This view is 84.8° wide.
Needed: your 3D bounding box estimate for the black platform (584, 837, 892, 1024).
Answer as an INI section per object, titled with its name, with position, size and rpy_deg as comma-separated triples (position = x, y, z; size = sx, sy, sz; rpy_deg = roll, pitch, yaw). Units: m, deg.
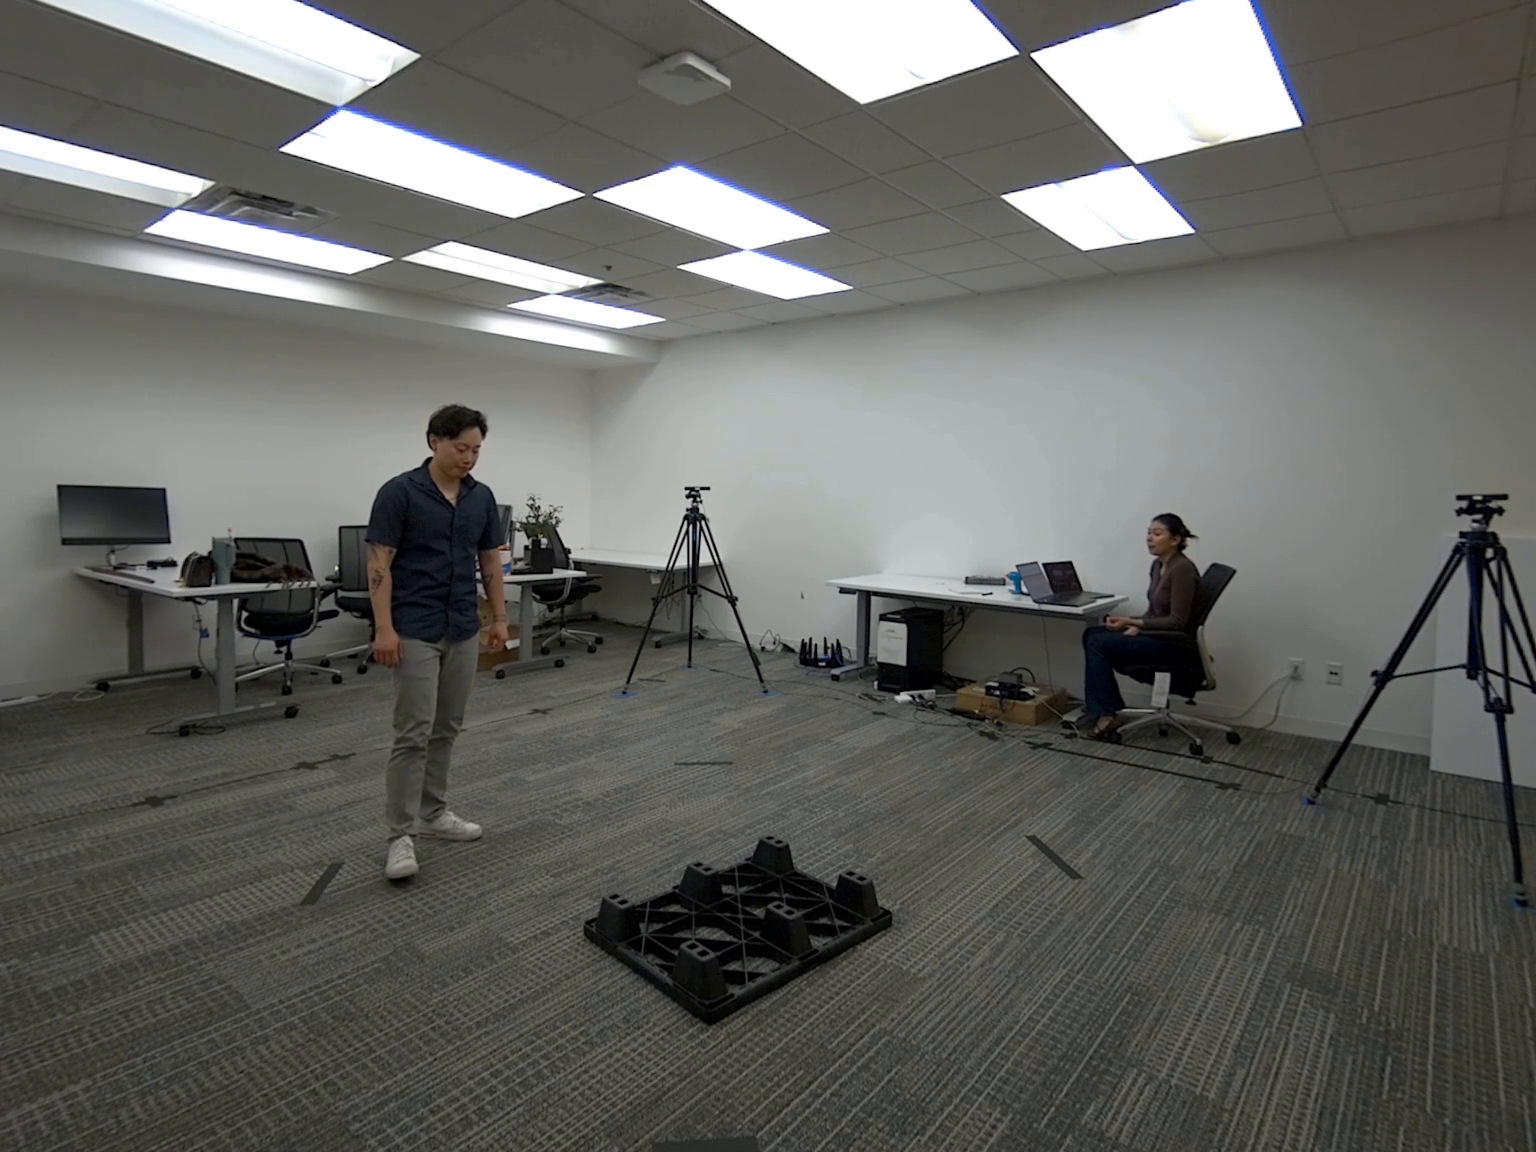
[black platform]
position = -0.092, 1.045, 2.670
size = 0.781, 0.143, 0.626
rpy_deg = -5, 8, -44
